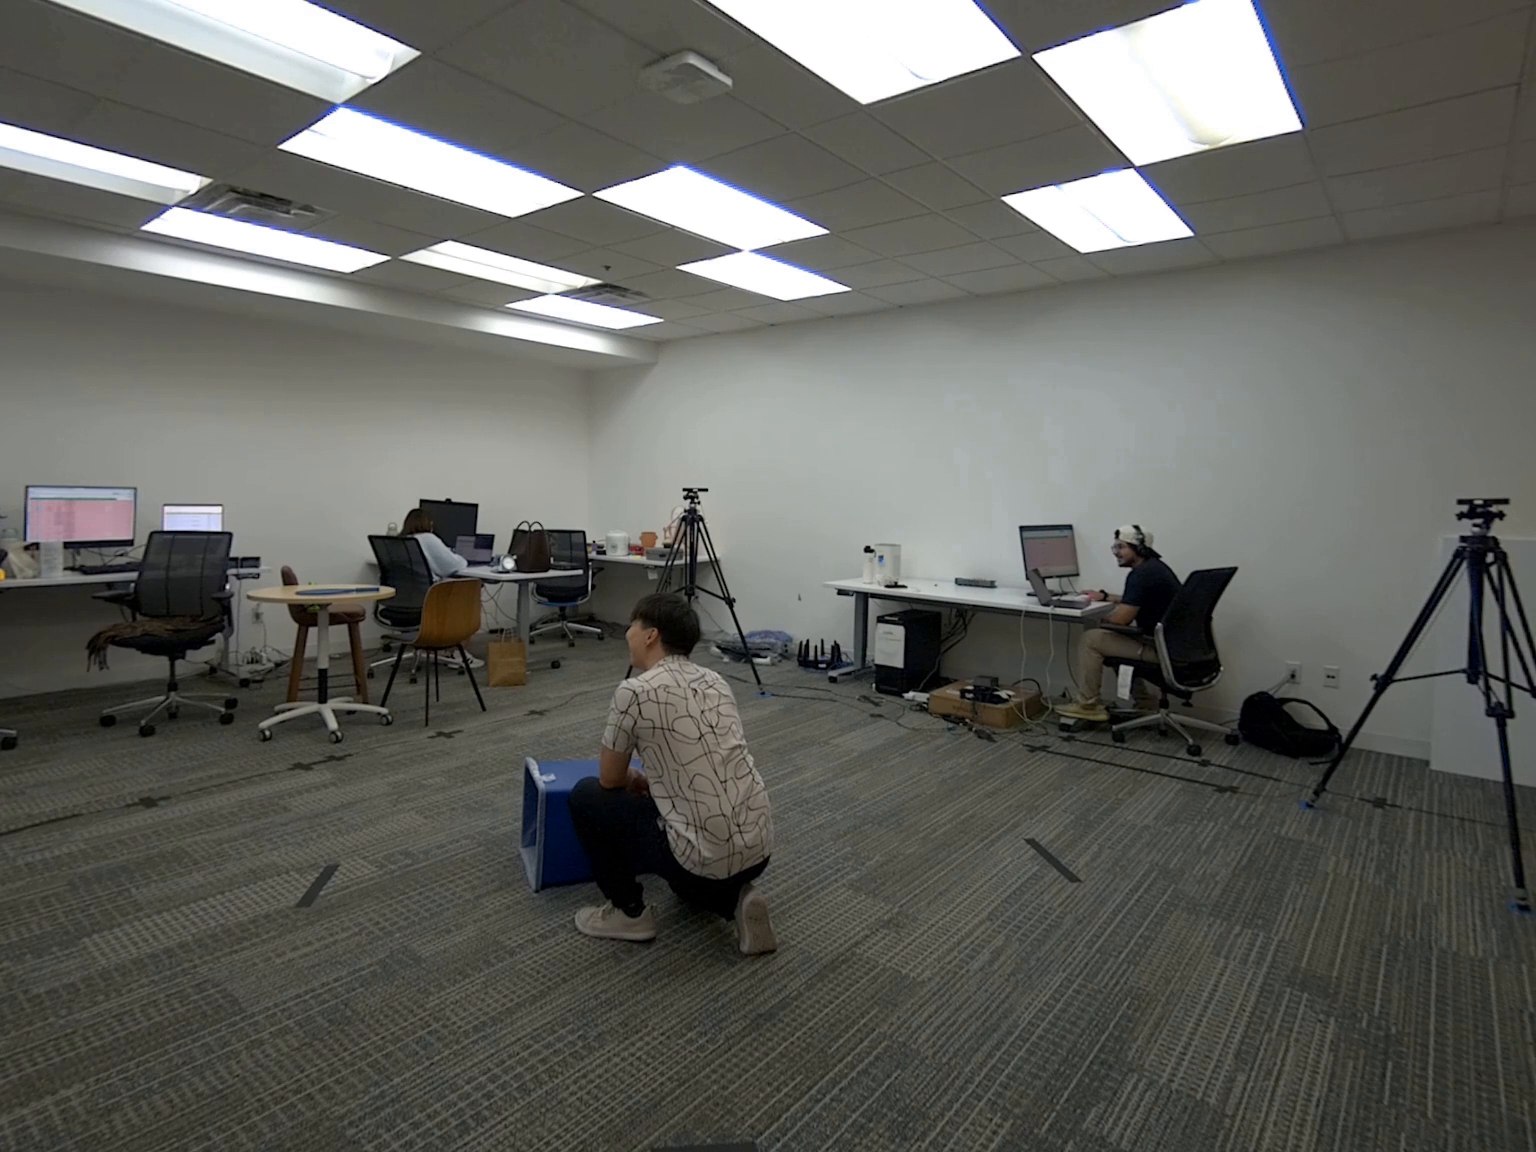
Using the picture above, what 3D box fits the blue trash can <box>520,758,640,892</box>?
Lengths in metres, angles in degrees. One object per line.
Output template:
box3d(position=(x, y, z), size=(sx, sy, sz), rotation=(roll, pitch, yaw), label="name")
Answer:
box3d(position=(-0.543, 0.887, 3.174), size=(0.698, 0.373, 0.388), rotation=(3, 4, -22), label="blue trash can")
